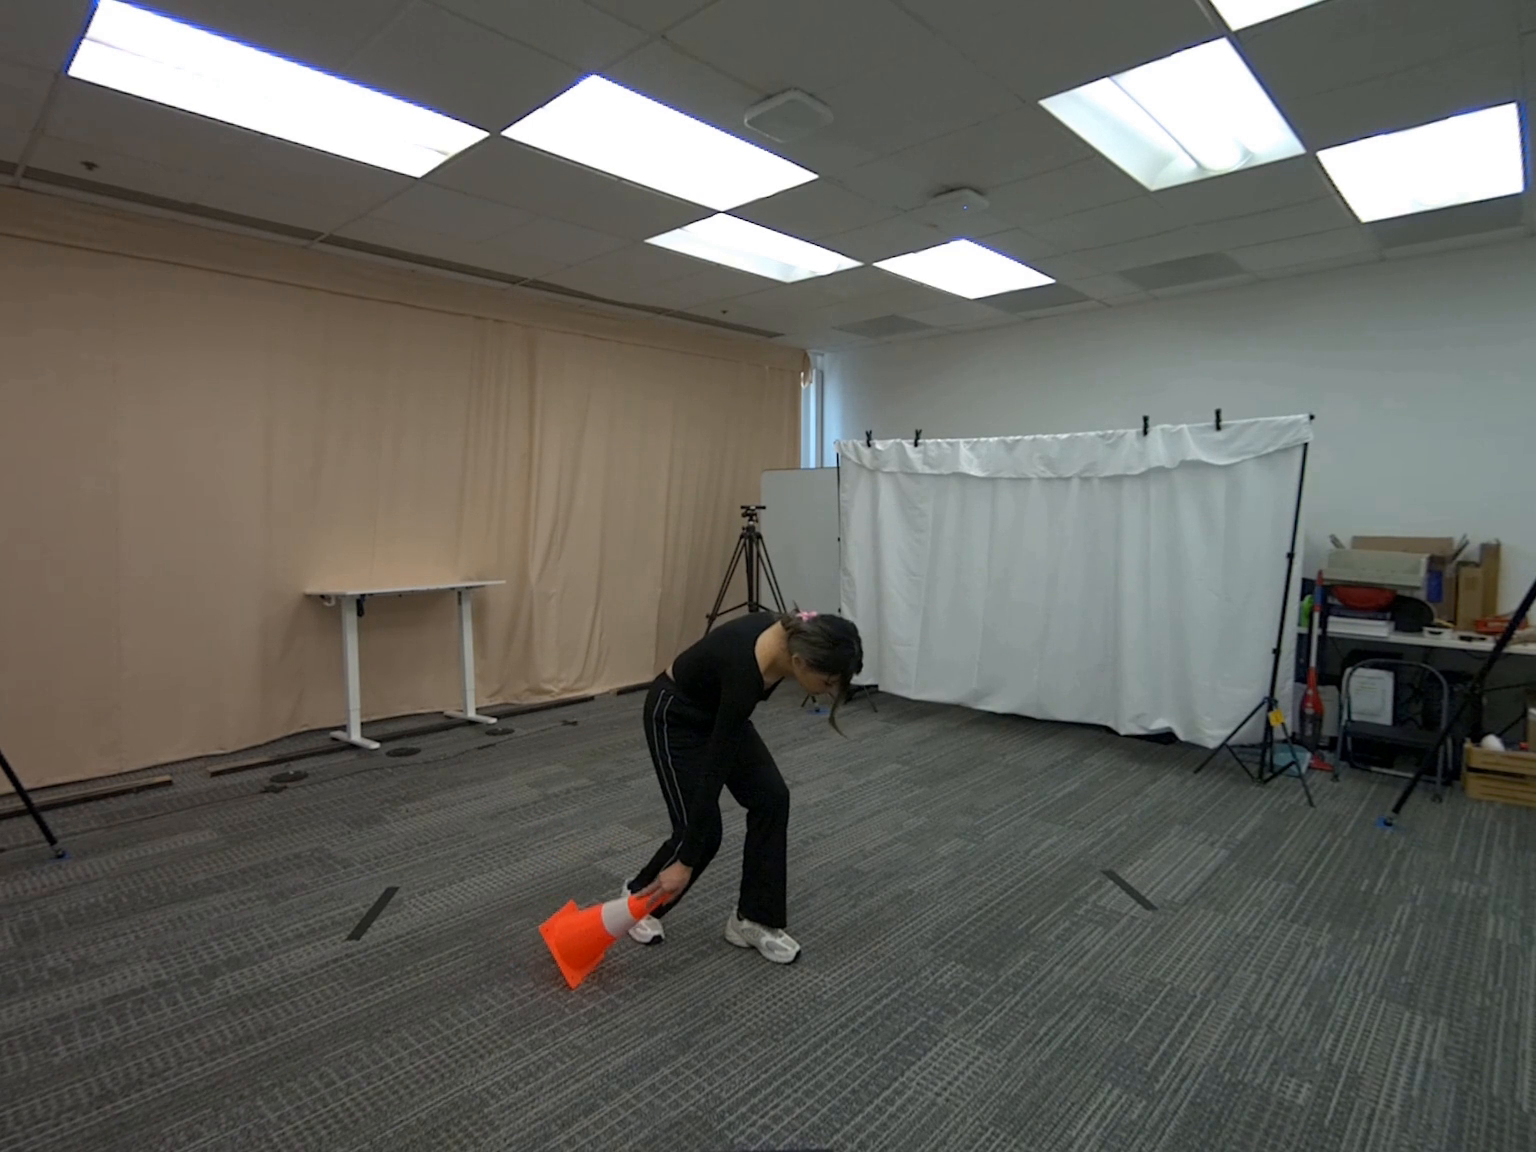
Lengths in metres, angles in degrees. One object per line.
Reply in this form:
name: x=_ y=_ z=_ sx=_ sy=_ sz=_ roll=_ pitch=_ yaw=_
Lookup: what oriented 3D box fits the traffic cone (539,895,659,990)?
traffic cone: x=-0.442 y=1.008 z=2.463 sx=0.387 sy=0.205 sz=0.202 roll=-35 pitch=-5 yaw=18
